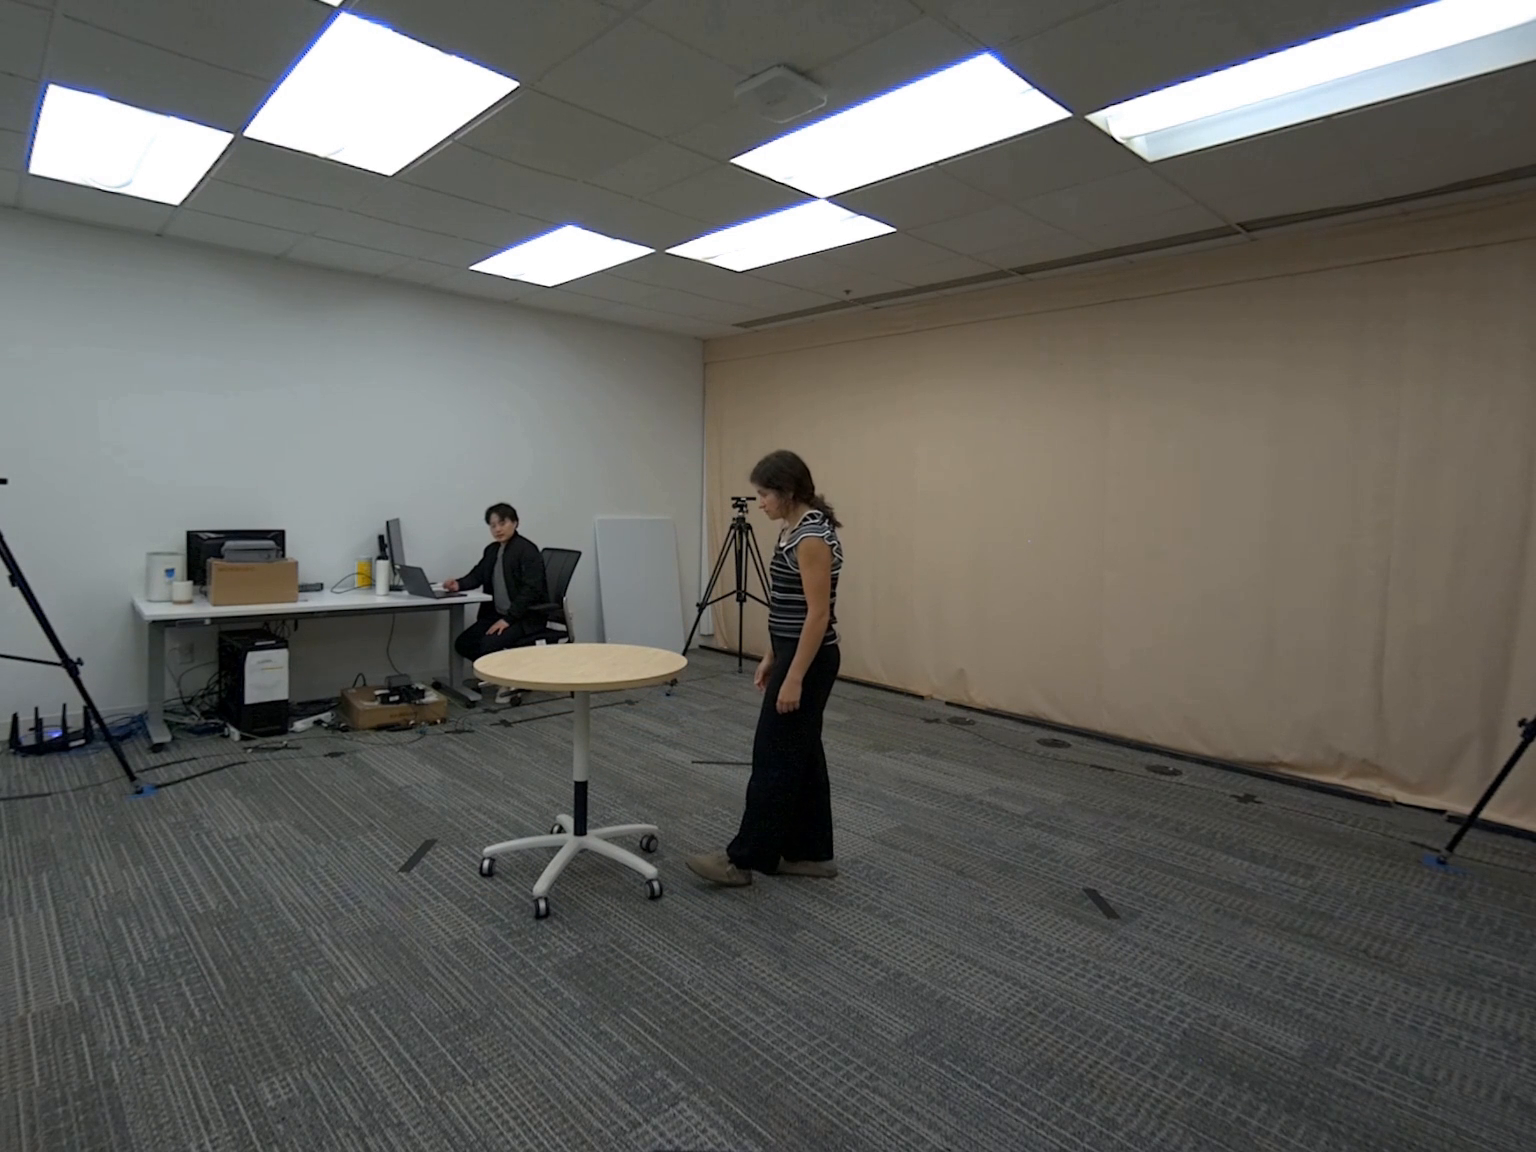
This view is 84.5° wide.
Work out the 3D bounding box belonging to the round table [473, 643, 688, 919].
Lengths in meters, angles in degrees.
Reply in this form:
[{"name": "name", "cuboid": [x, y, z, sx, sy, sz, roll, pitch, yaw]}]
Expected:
[{"name": "round table", "cuboid": [-0.676, 0.698, 3.093, 0.784, 0.784, 0.788, 1, 4, -1]}]
